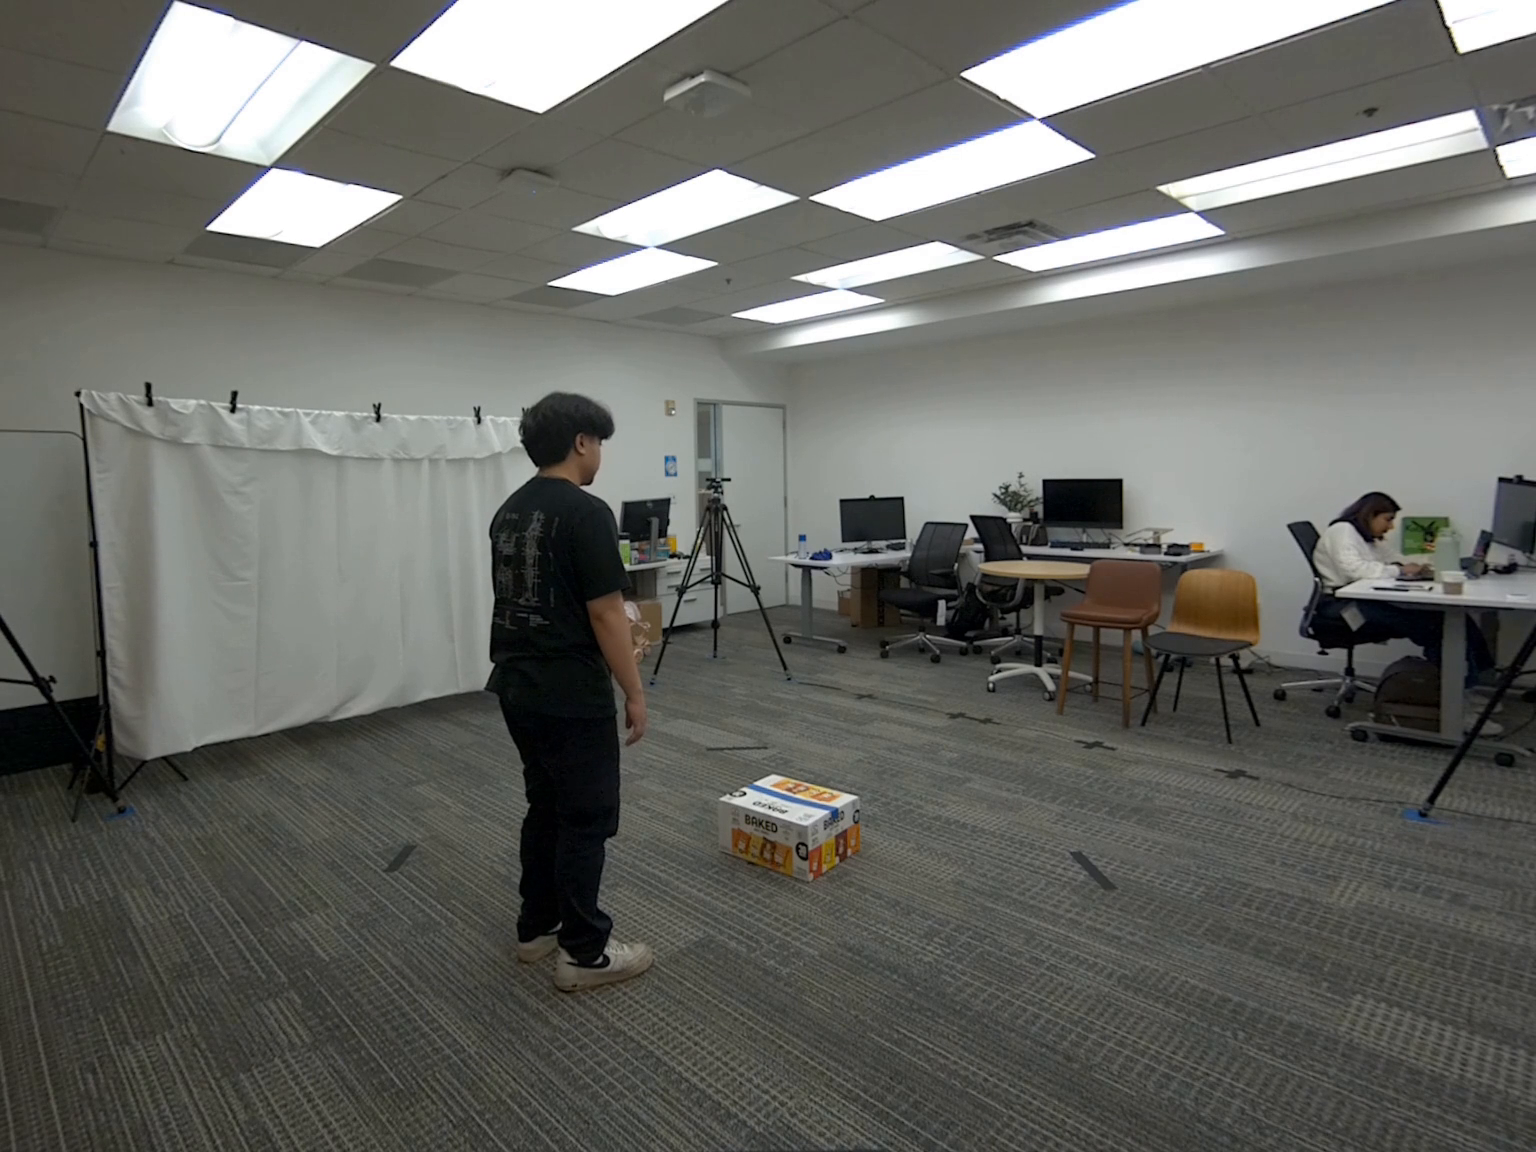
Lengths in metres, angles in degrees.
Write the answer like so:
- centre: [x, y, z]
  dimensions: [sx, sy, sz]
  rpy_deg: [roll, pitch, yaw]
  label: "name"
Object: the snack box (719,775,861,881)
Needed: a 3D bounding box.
- centre: [0.080, 0.928, 3.192]
  dimensions: [0.417, 0.205, 0.332]
  rpy_deg: [4, 7, 39]
  label: "snack box"
